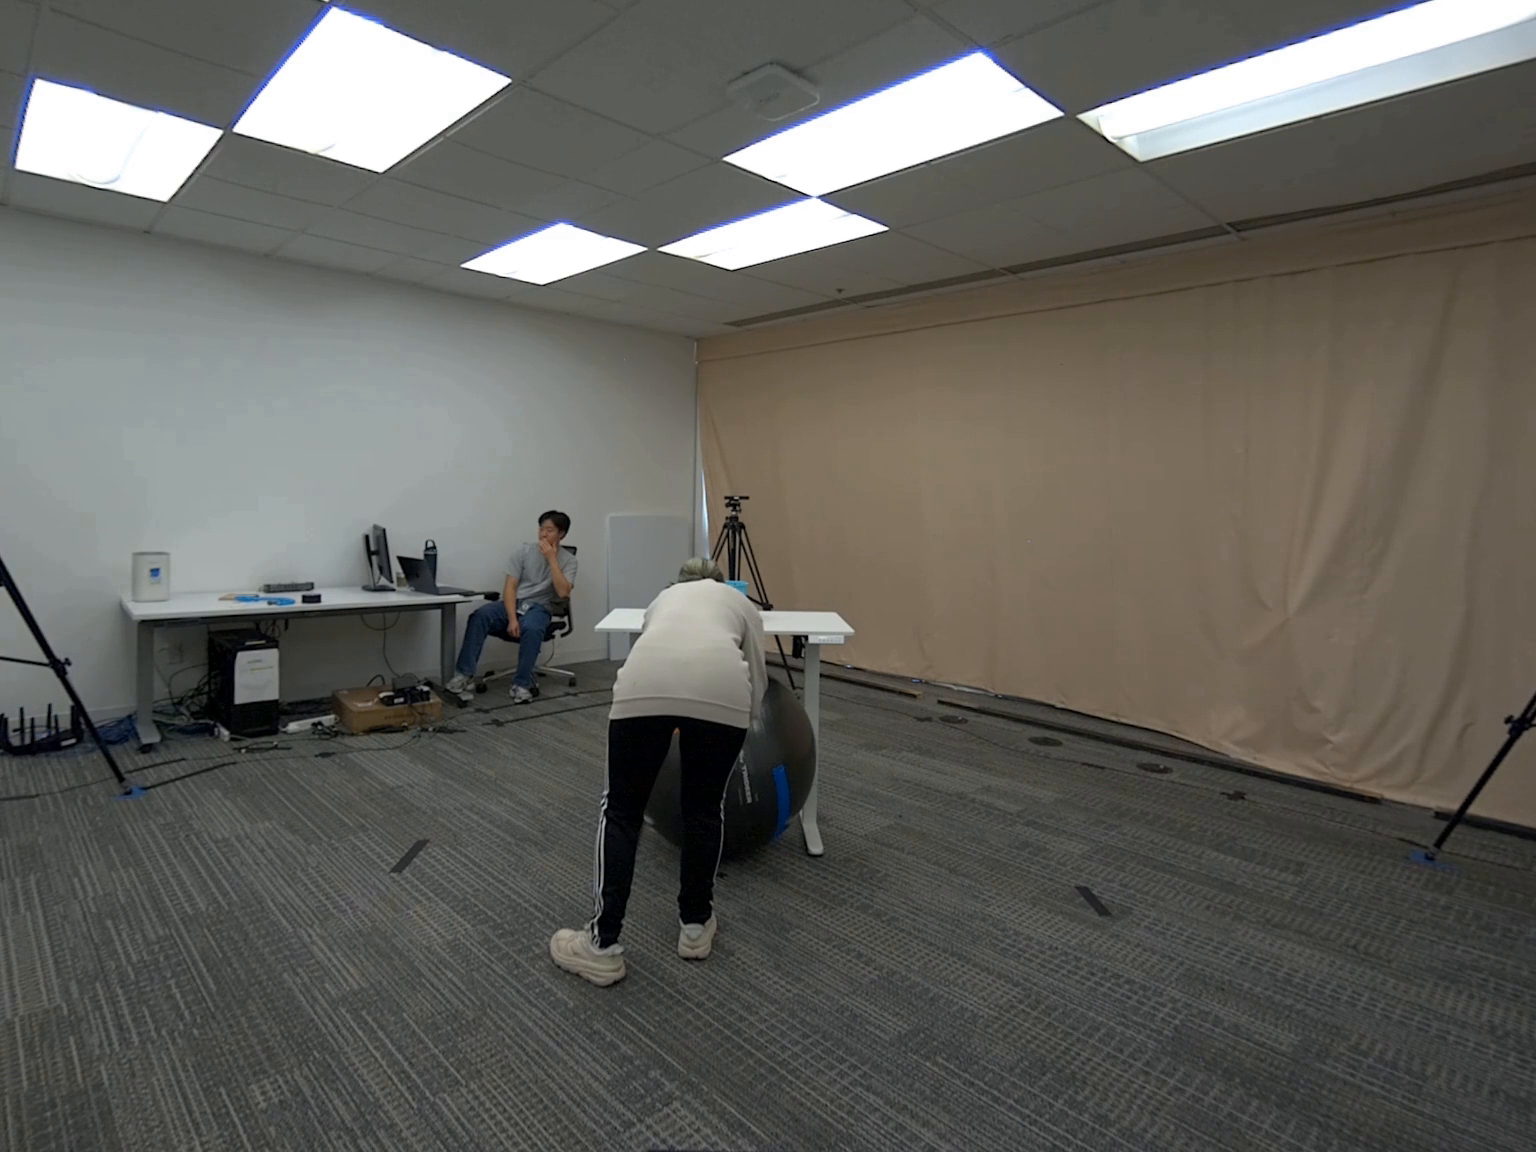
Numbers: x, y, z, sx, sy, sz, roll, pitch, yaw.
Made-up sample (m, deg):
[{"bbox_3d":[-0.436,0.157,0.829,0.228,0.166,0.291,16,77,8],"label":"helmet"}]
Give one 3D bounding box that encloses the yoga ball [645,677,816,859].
[{"bbox_3d":[-0.195,0.712,3.333,0.757,0.756,0.761,1,4,-1],"label":"yoga ball"}]
